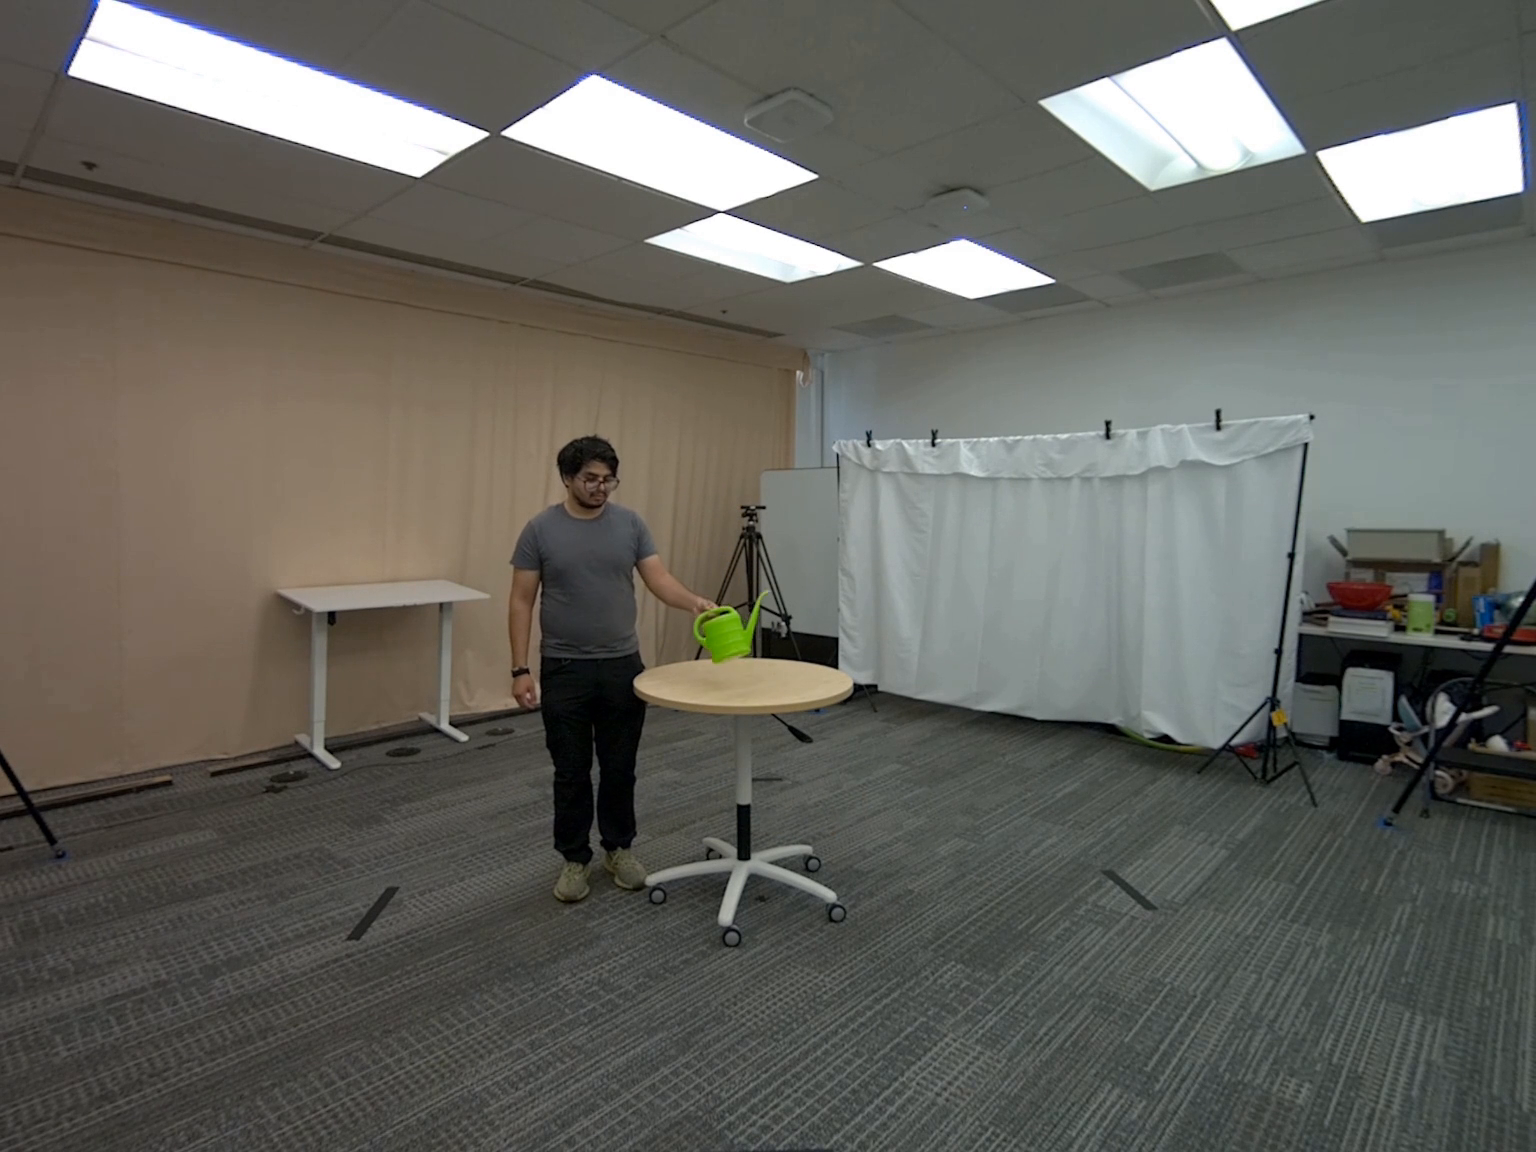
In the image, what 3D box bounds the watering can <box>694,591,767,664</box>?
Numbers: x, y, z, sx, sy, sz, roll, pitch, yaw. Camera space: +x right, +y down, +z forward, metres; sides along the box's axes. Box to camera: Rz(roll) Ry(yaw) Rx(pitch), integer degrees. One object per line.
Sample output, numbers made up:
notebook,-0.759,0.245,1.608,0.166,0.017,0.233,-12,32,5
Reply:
watering can,-0.106,0.178,2.761,0.281,0.179,0.096,-23,-14,12
